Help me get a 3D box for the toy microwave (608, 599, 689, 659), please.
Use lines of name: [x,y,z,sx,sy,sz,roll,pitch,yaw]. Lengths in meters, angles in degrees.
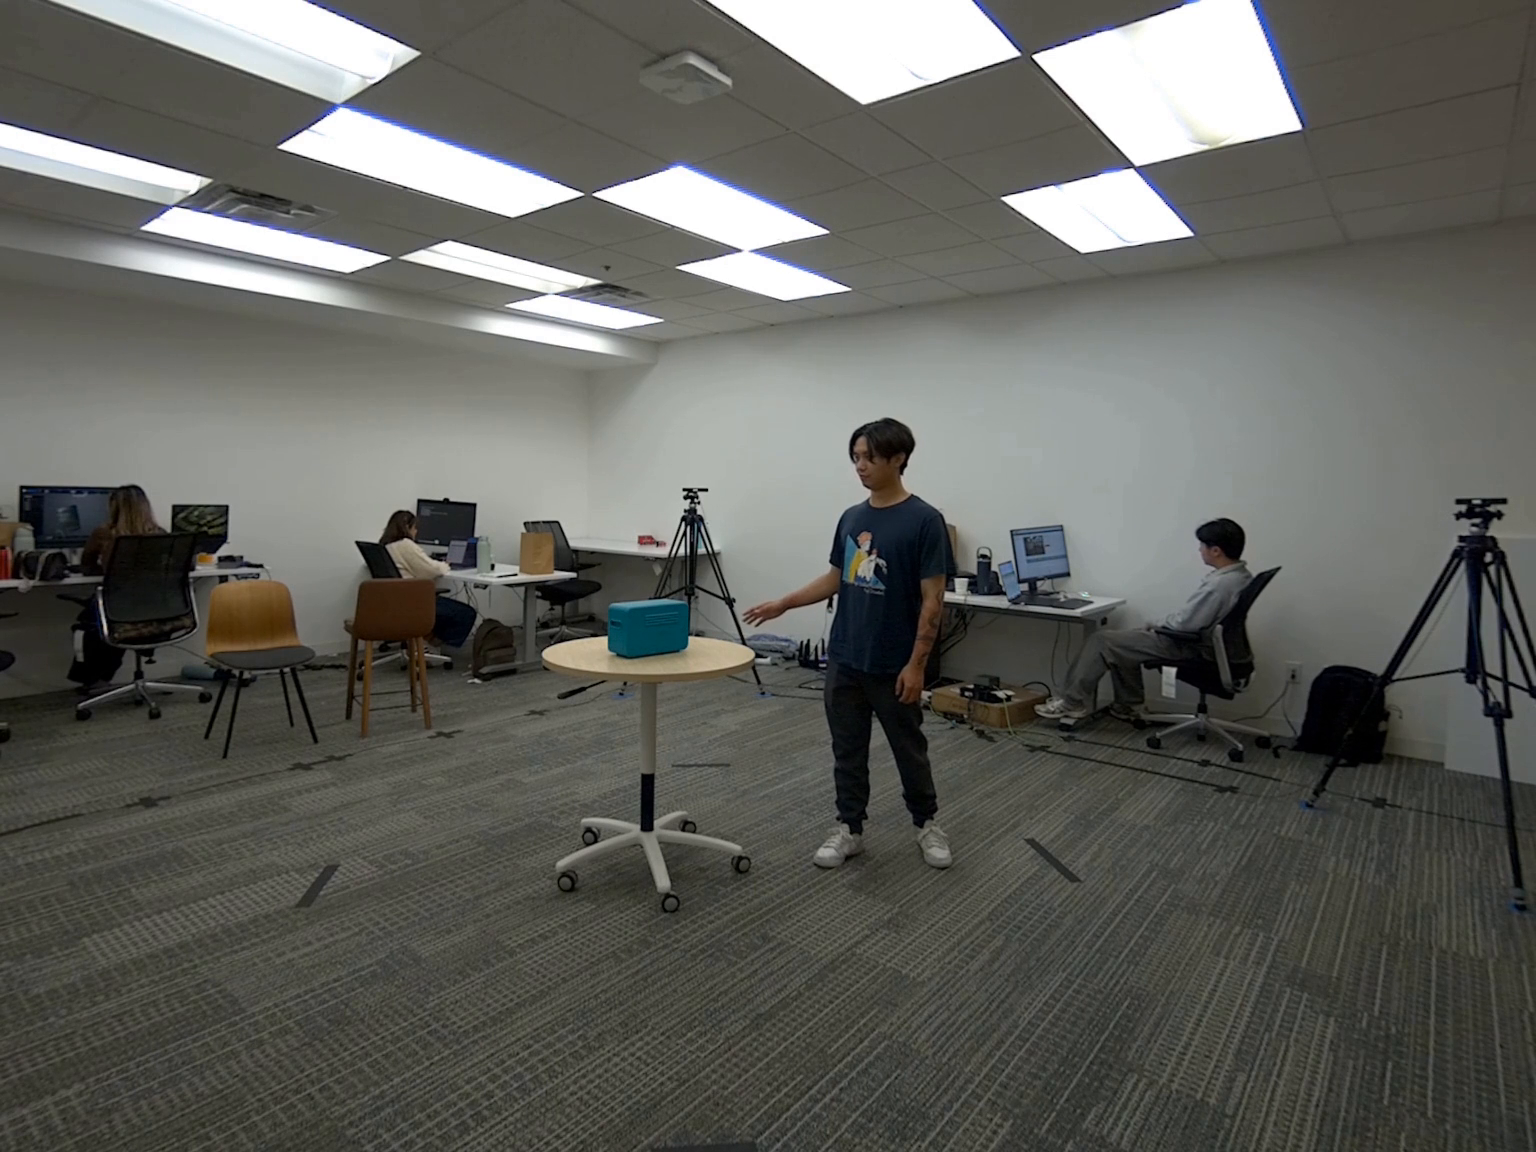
toy microwave: [-0.448,0.182,3.069,0.277,0.183,0.157,-3,5,-42]
